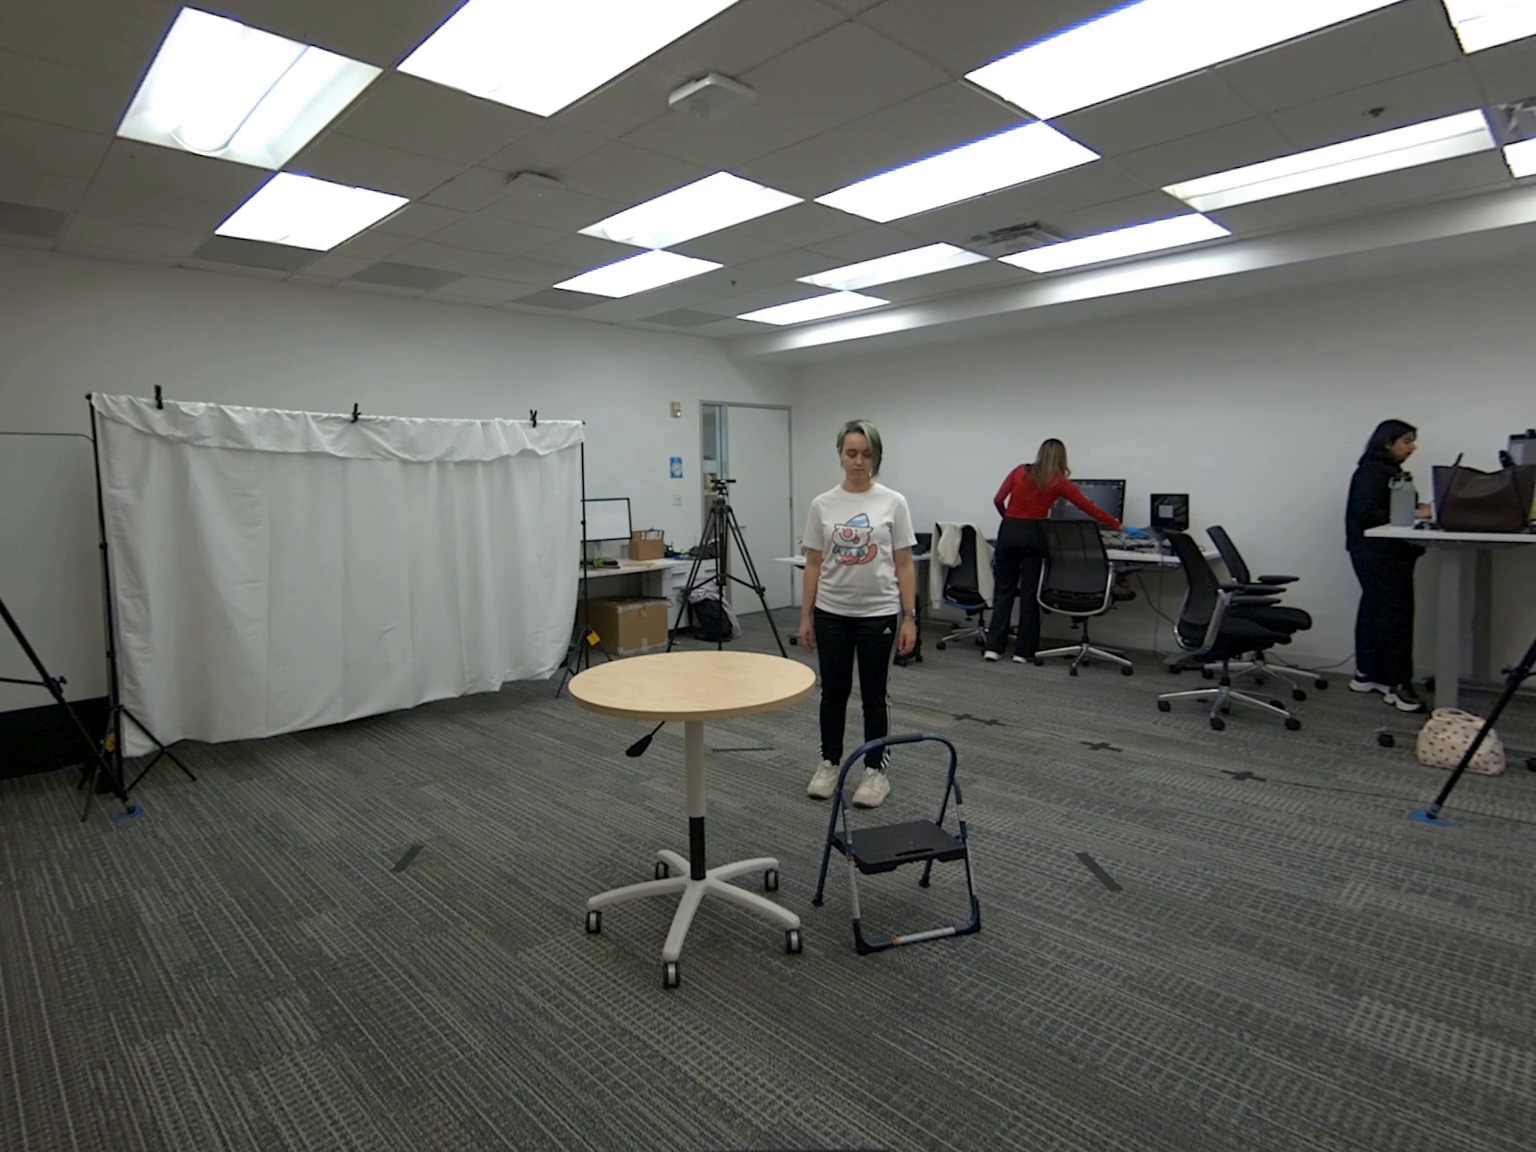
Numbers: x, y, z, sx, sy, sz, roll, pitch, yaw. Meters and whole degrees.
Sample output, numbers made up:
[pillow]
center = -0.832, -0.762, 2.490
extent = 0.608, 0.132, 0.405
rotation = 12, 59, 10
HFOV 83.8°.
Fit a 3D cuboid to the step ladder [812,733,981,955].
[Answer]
[step ladder]
center = 0.400, 0.785, 2.696
extent = 0.424, 0.603, 0.356
rotation = -3, 5, -19
